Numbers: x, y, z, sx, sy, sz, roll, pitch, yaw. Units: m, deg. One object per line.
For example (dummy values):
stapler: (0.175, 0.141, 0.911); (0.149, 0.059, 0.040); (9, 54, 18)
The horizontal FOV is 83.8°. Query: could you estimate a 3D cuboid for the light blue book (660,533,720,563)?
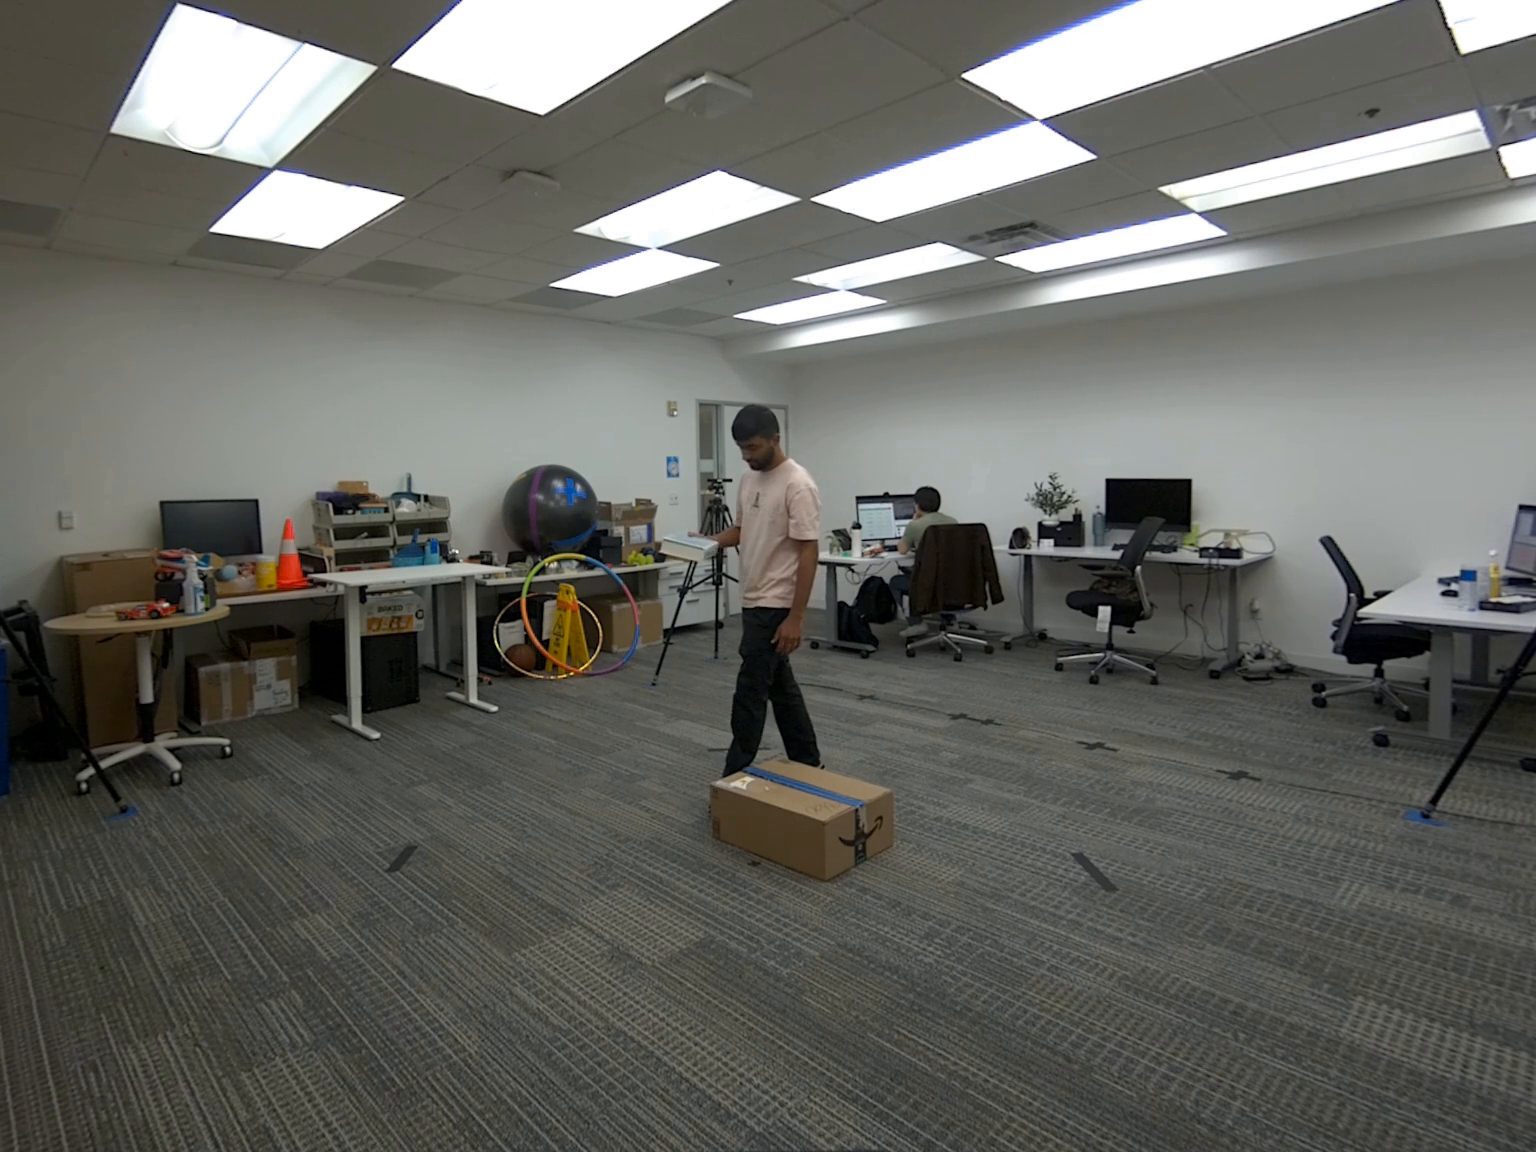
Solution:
light blue book: (-0.363, -0.113, 3.557); (0.266, 0.058, 0.189); (10, 12, 18)
